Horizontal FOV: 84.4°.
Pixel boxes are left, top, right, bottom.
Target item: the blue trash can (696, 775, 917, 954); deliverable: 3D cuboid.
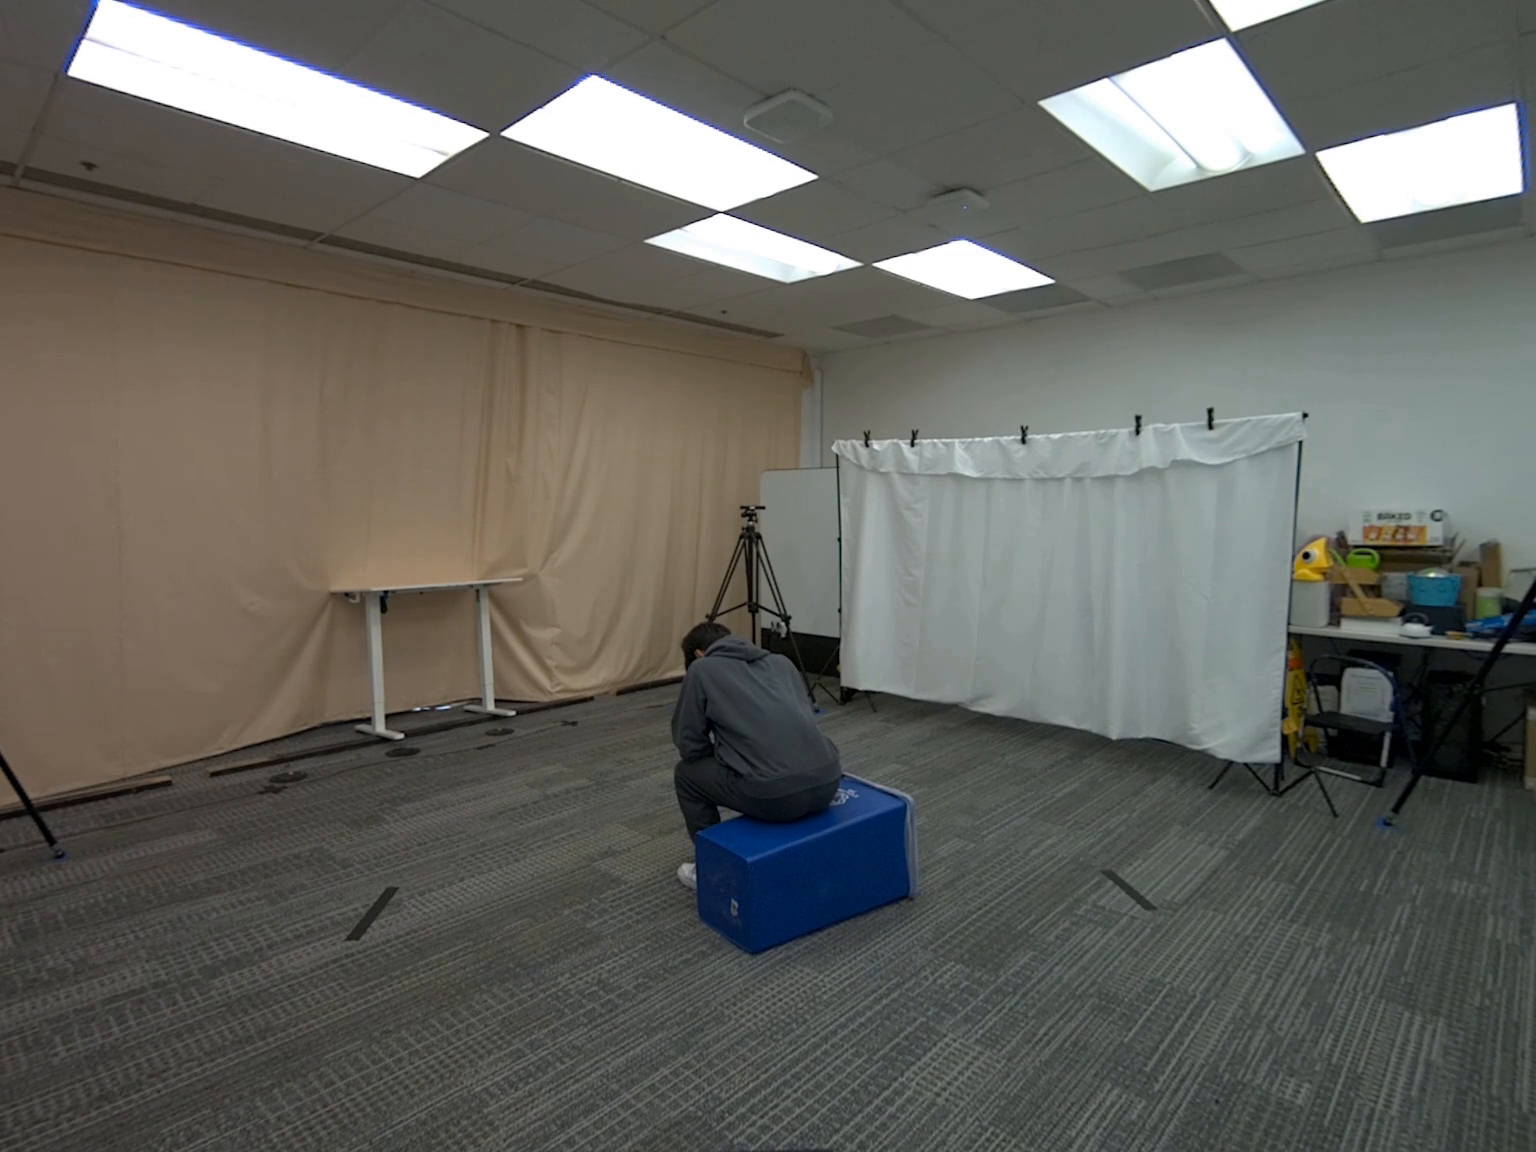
[{"bbox_3d":[0.143,0.982,2.901,0.693,0.376,0.386,-8,8,-37],"label":"blue trash can"}]
